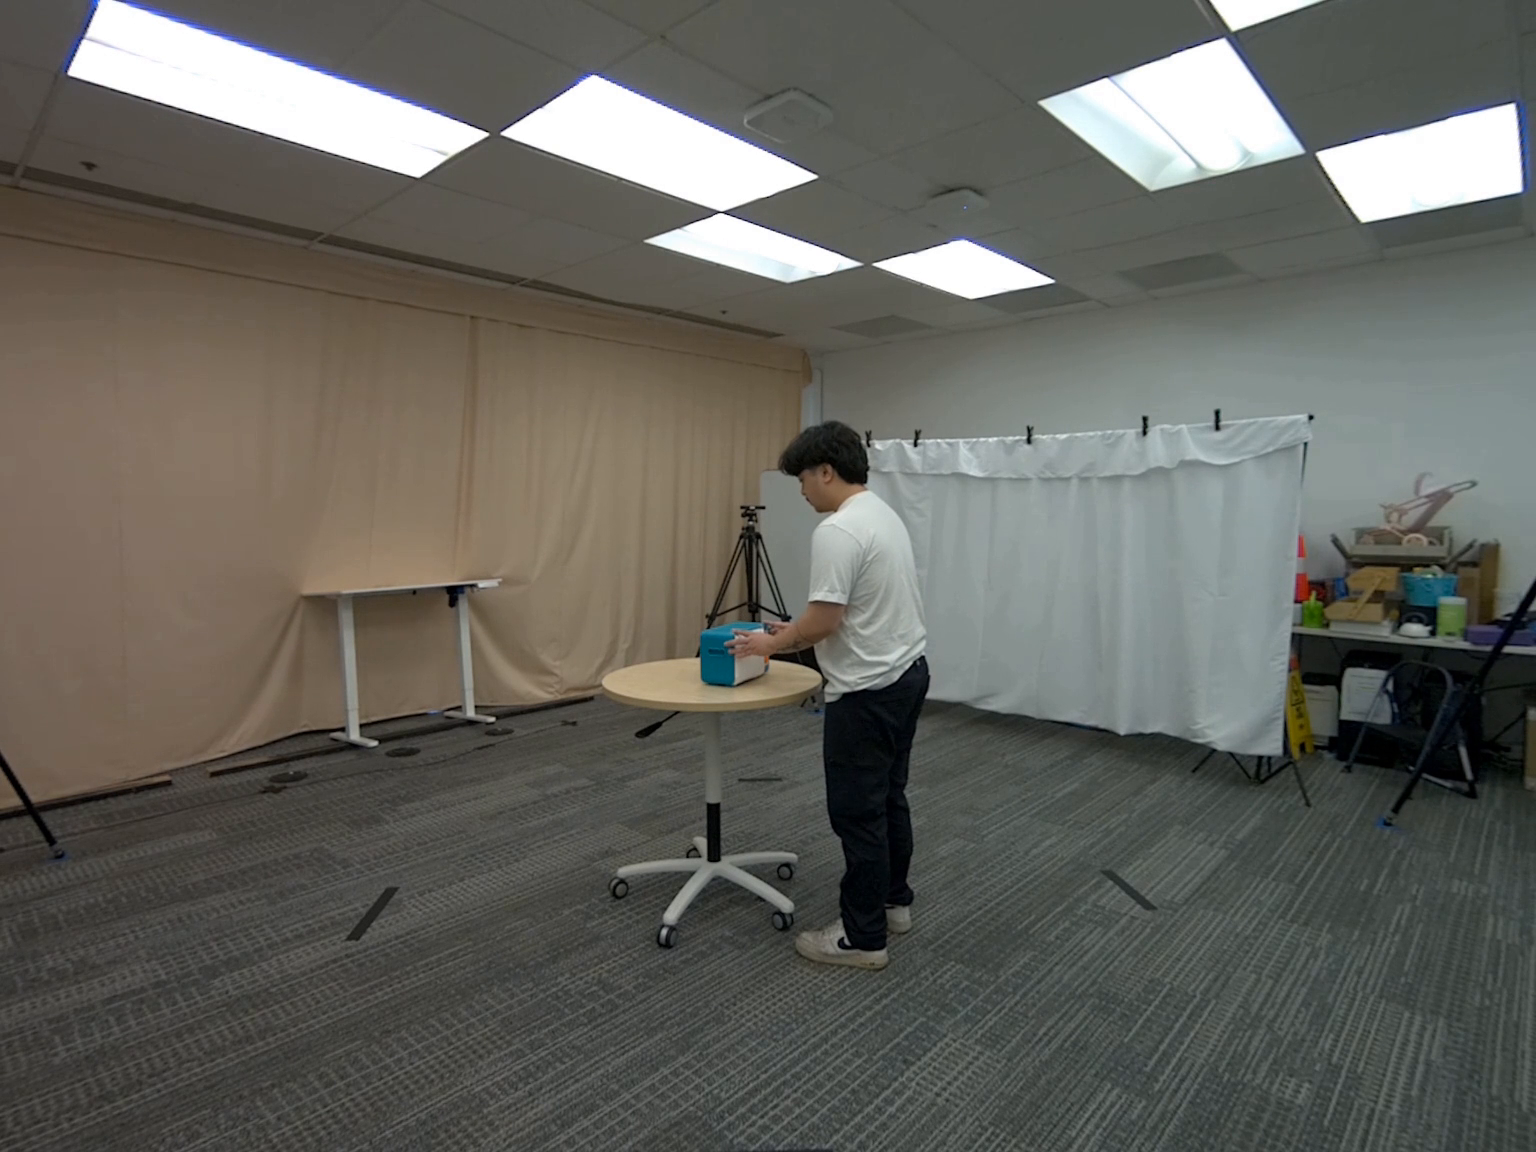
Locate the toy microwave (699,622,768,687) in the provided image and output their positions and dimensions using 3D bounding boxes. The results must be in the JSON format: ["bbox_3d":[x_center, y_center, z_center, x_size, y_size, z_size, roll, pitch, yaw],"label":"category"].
[{"bbox_3d":[-0.101,0.266,2.902,0.156,0.184,0.279,1,4,28],"label":"toy microwave"}]
